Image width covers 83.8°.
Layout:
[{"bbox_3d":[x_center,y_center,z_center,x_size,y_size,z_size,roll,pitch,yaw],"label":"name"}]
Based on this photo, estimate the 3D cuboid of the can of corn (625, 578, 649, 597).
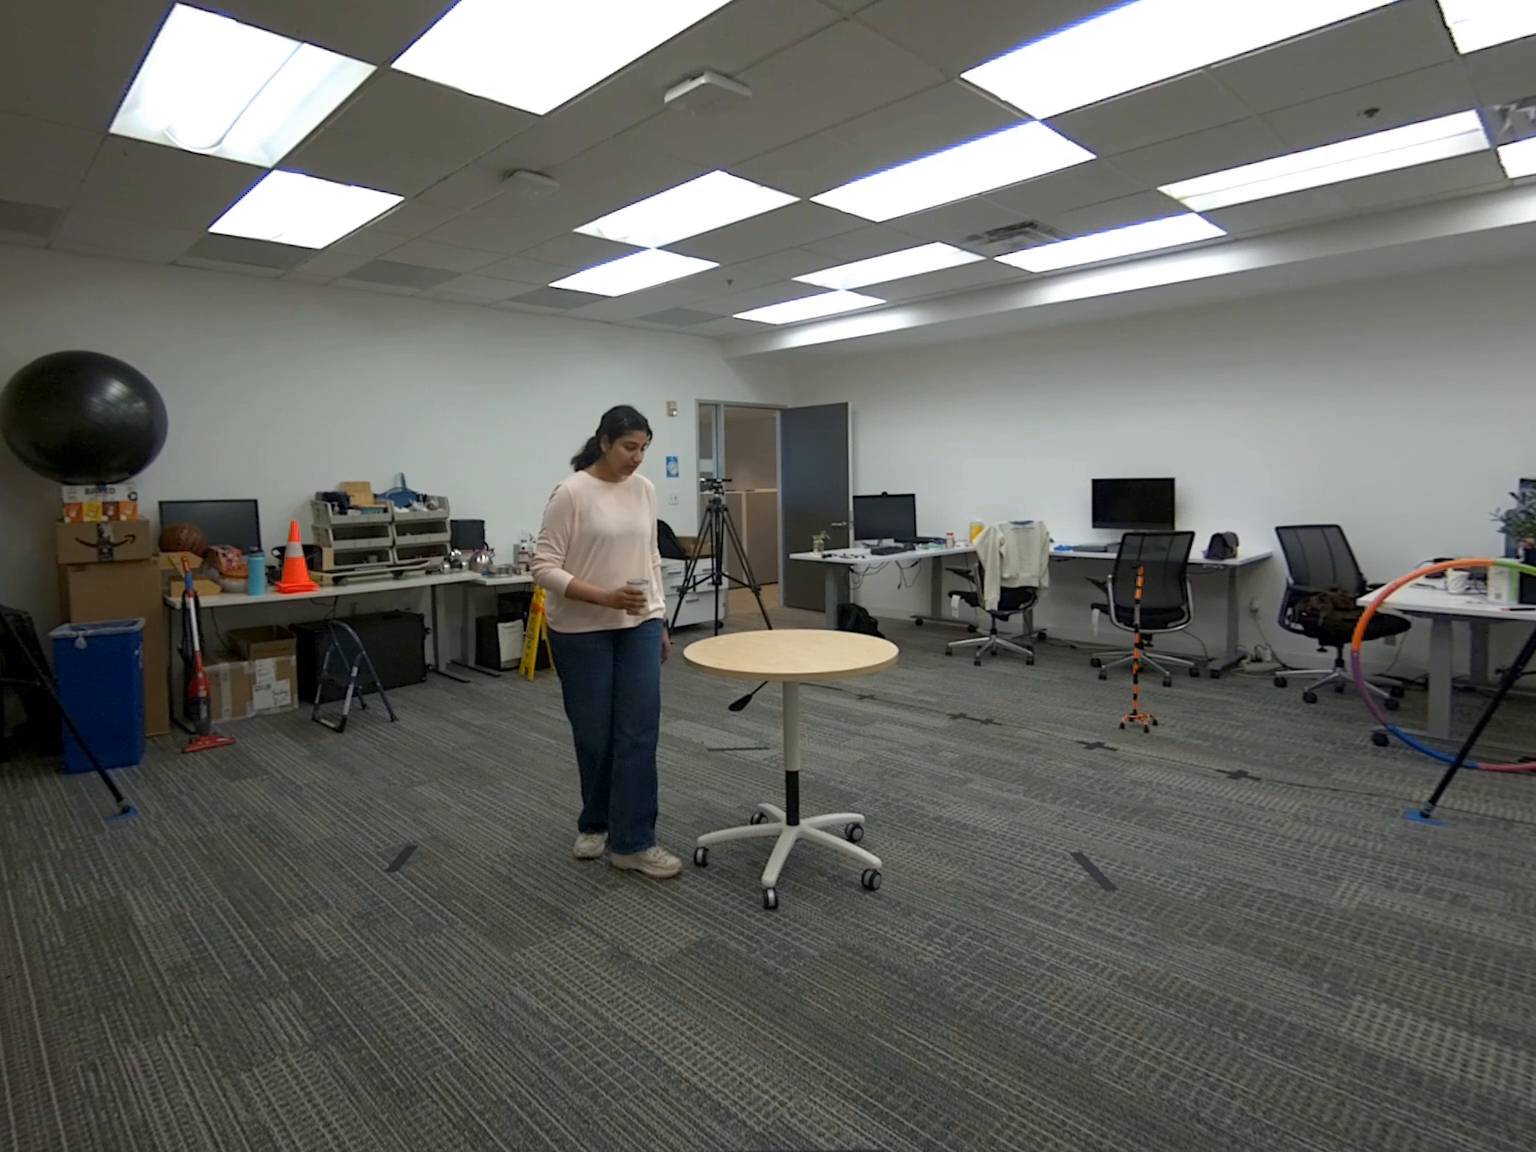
[{"bbox_3d":[-0.457,0.078,2.924,0.074,0.110,0.075,-2,7,-1],"label":"can of corn"}]
